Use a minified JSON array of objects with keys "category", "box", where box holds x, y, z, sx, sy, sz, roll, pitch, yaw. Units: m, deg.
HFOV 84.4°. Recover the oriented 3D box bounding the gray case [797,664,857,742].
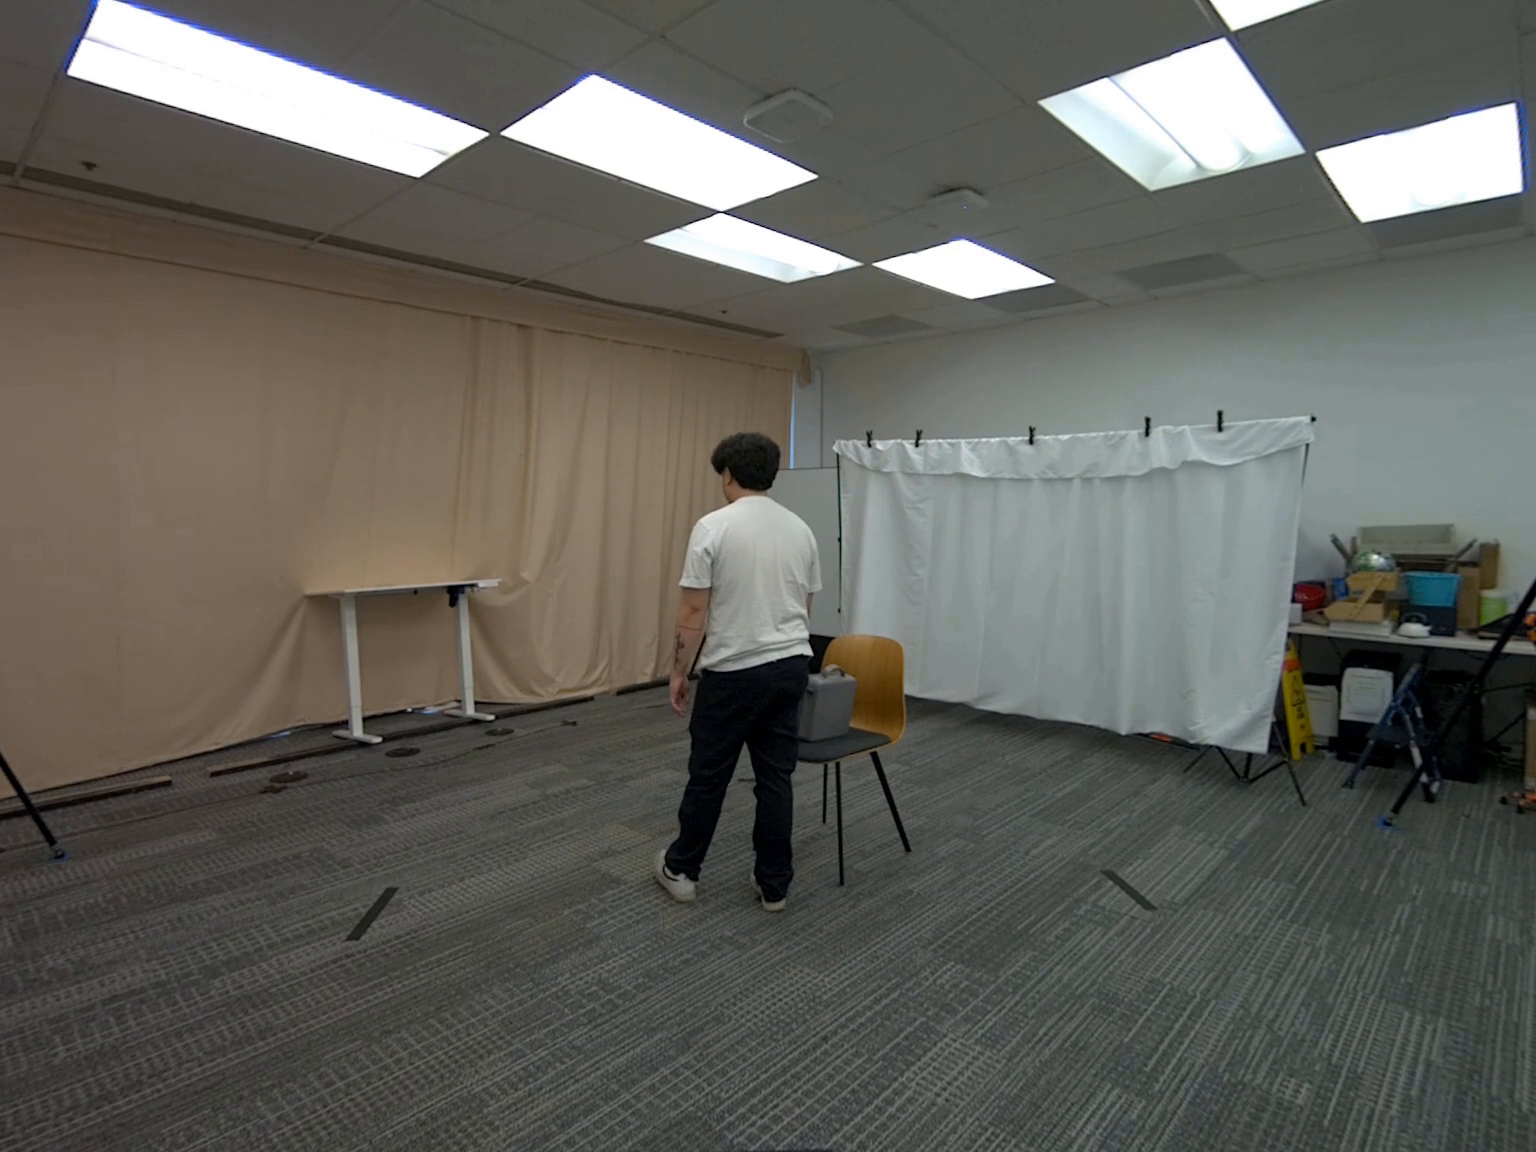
[{"category":"gray case","box":[0.228,0.510,3.327,0.248,0.260,0.108,2,9,-43]}]
